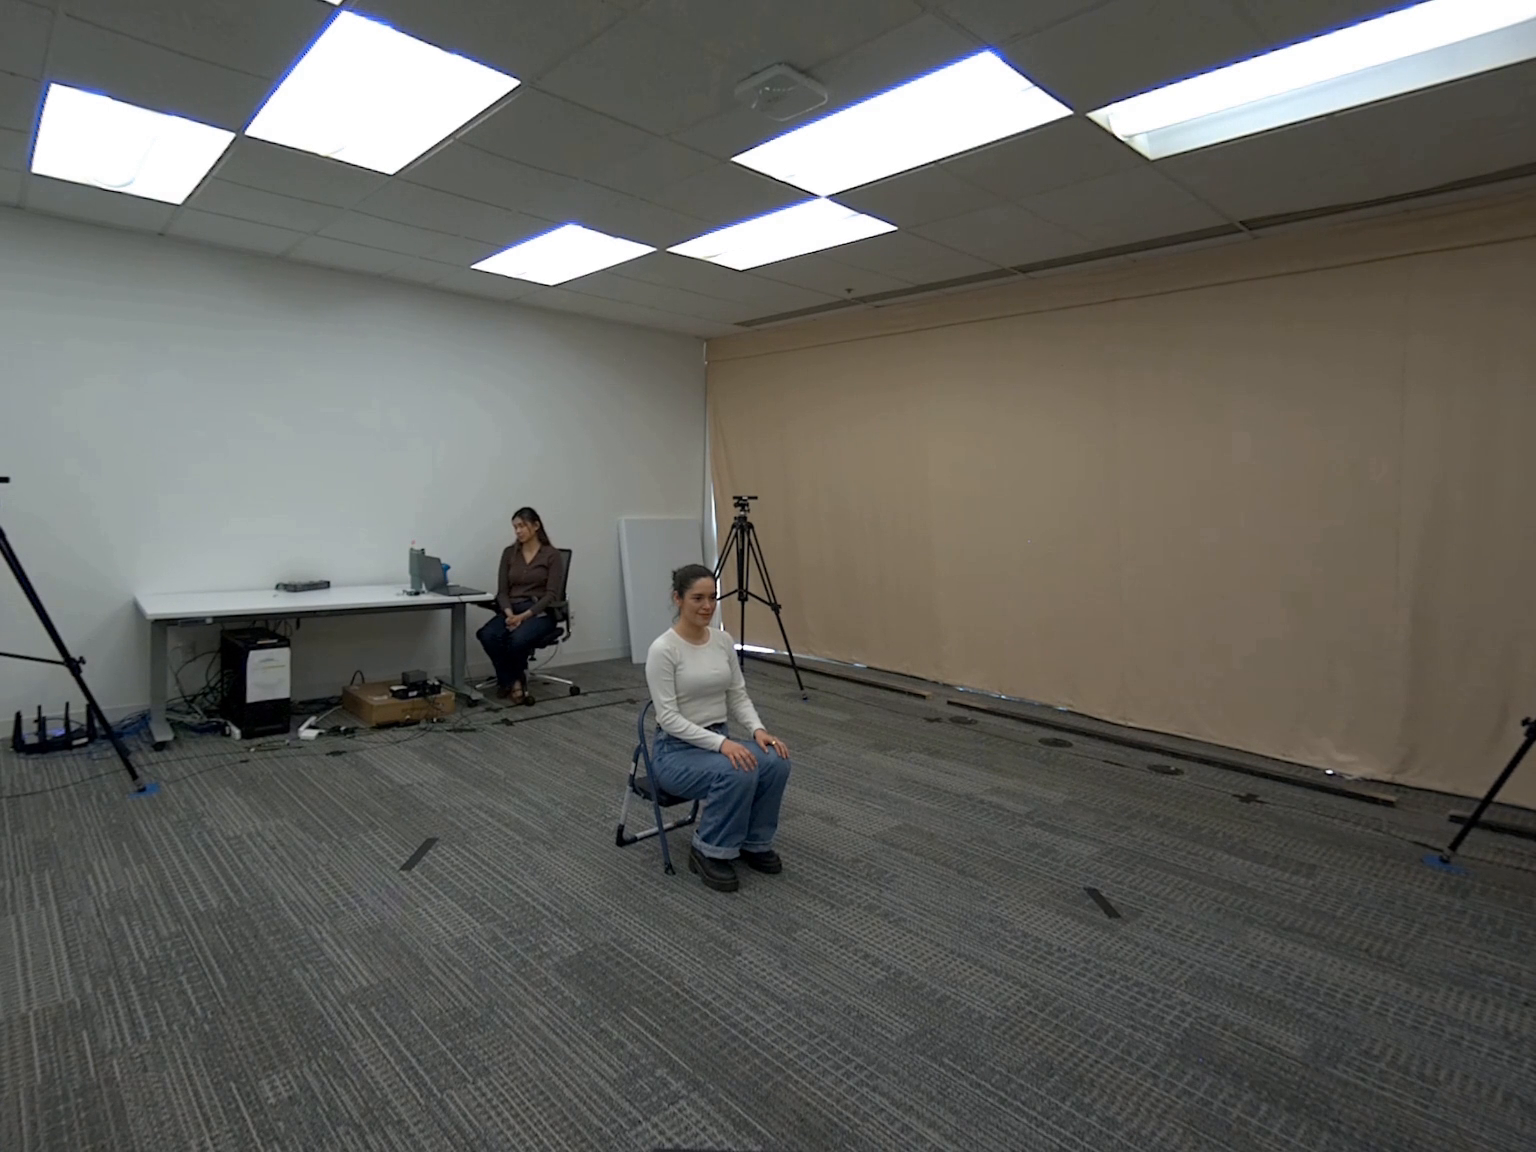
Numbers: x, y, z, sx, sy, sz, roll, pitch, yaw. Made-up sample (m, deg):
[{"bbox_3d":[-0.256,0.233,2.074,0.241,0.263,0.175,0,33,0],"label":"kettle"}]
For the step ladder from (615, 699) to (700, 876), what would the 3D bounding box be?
[{"bbox_3d":[-0.340,0.772,3.347,0.358,0.605,0.421,5,5,44],"label":"step ladder"}]
